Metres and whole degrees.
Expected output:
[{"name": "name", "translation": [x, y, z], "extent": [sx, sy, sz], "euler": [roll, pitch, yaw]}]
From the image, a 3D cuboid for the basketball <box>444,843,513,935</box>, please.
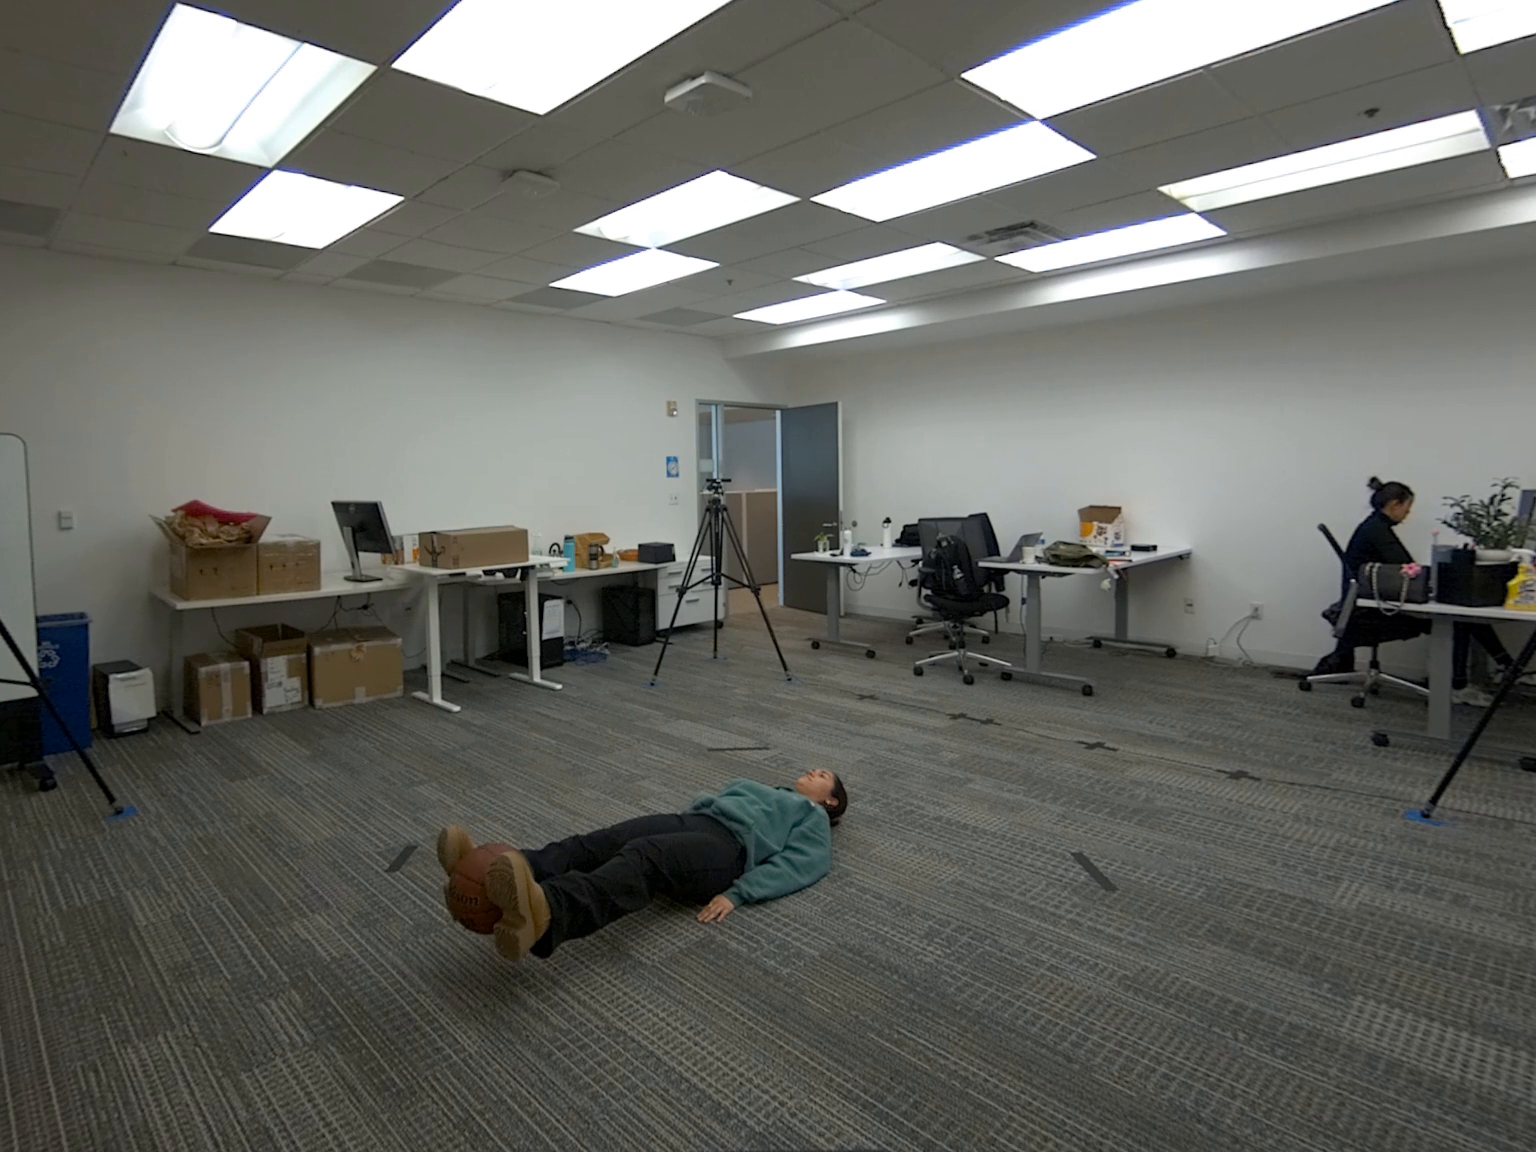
[{"name": "basketball", "translation": [-0.767, 0.870, 2.388], "extent": [0.236, 0.235, 0.237], "euler": [-1, 4, -2]}]
